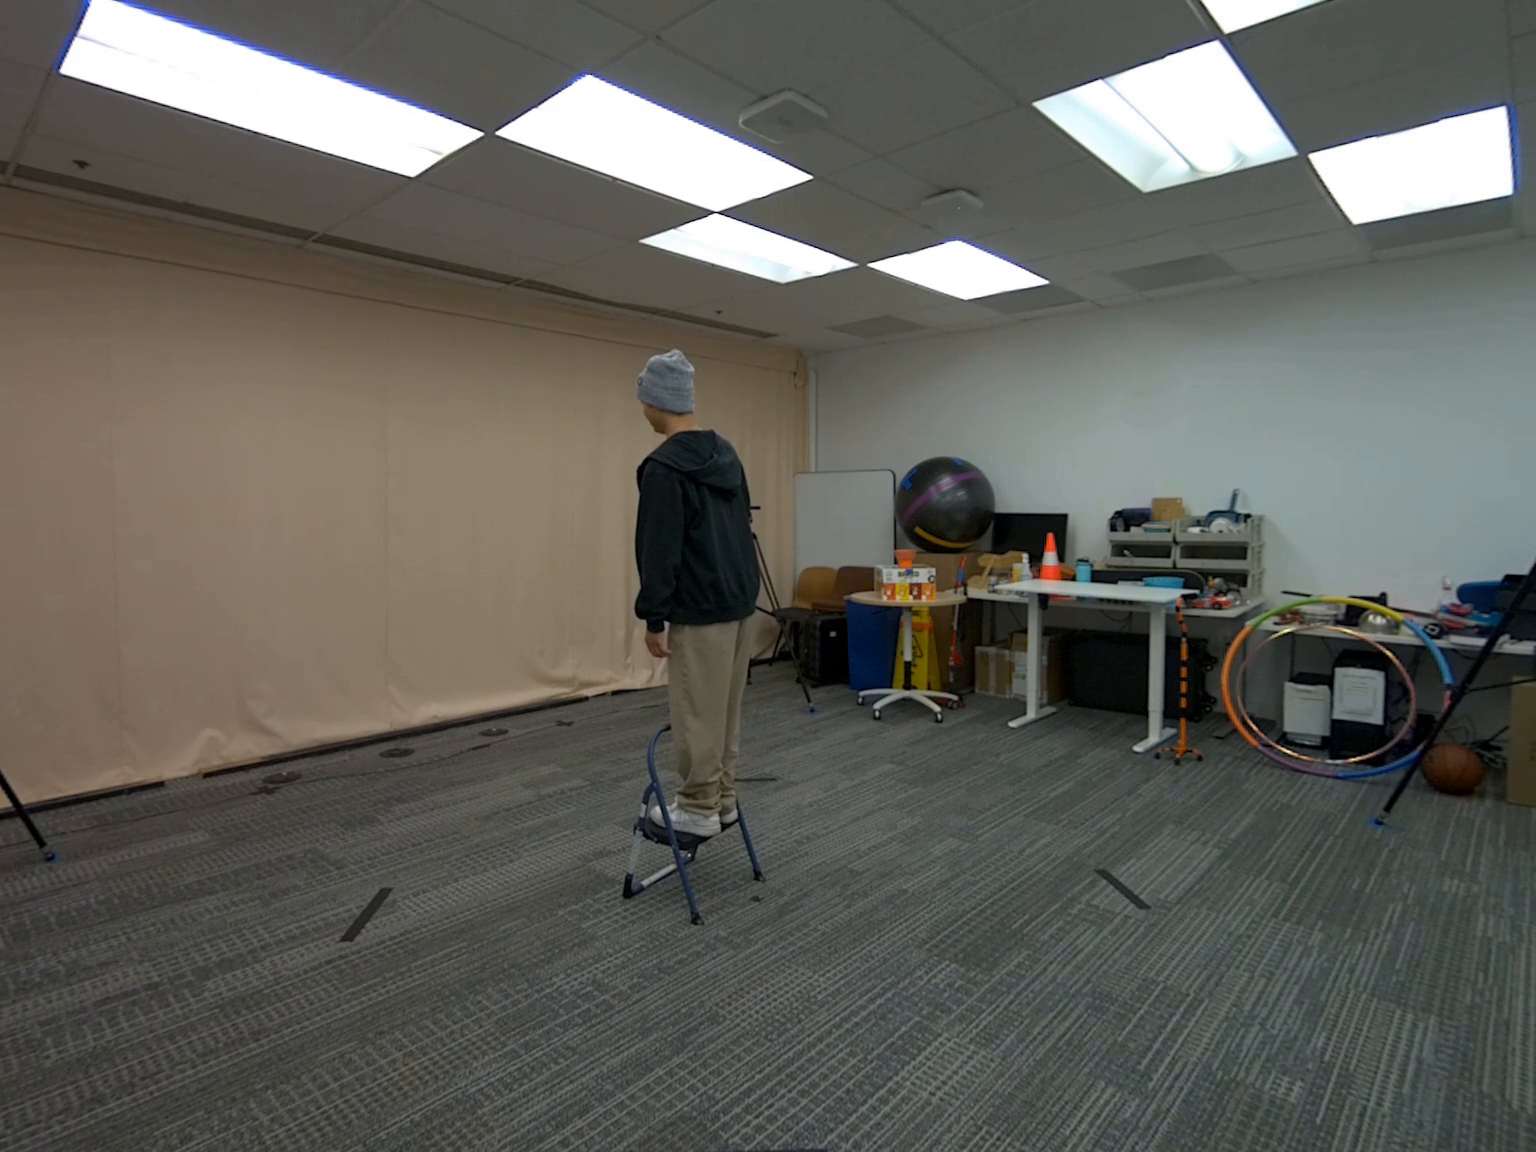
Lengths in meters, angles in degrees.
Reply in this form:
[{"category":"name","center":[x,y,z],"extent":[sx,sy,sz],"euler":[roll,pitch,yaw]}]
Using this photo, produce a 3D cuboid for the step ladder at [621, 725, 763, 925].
[{"category":"step ladder","center":[-0.268,0.839,3.055],"extent":[0.360,0.605,0.419],"euler":[1,4,32]}]
